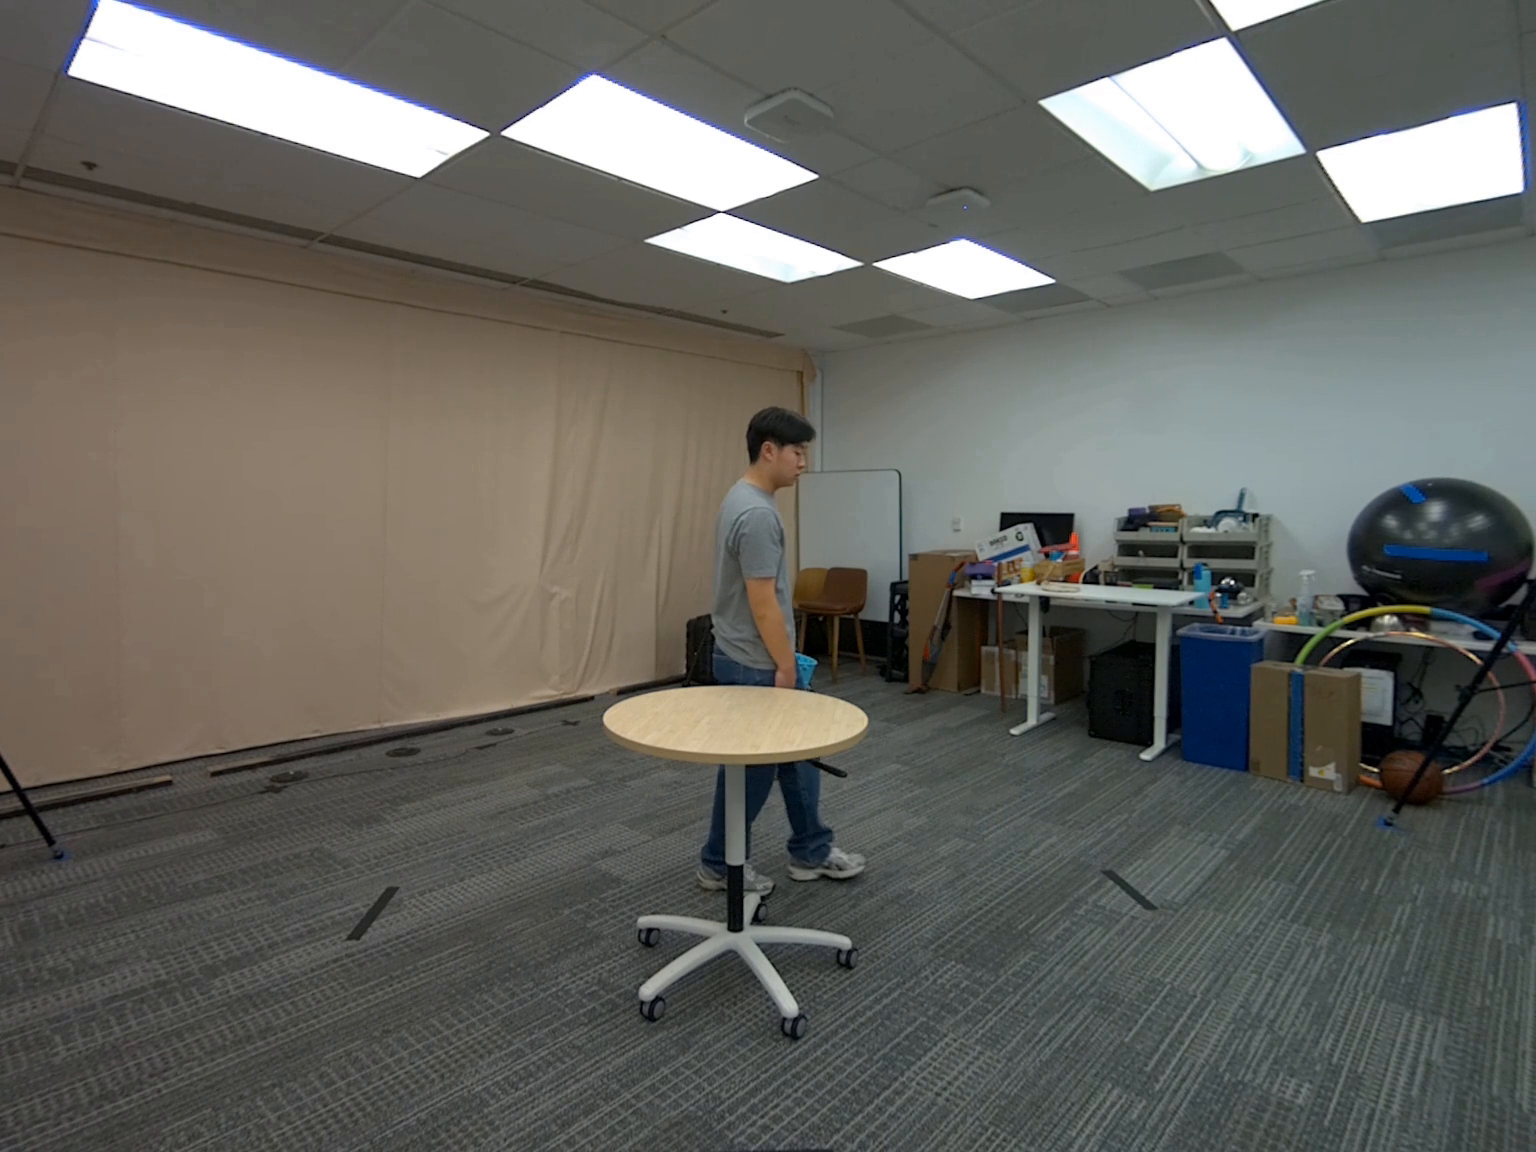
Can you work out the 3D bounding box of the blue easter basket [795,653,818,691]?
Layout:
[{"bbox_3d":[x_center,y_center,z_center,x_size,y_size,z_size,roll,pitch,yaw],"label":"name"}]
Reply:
[{"bbox_3d":[0.090,0.395,3.344,0.243,0.155,0.244,9,5,-3],"label":"blue easter basket"}]
